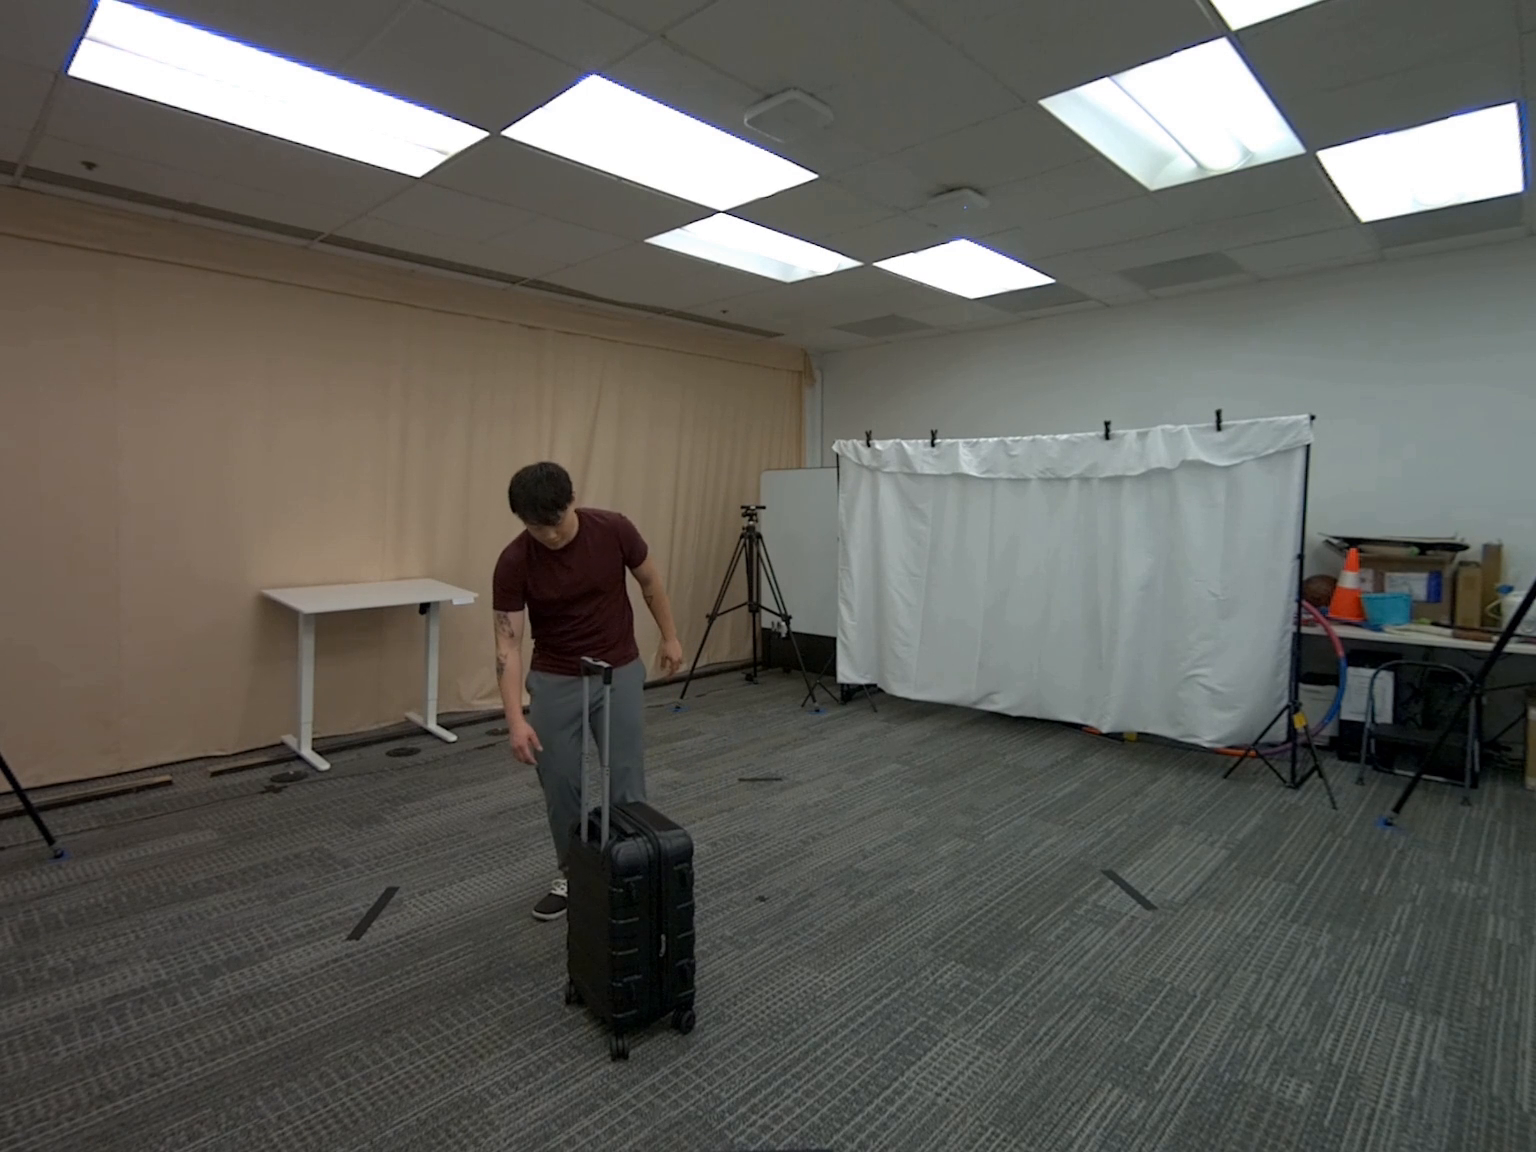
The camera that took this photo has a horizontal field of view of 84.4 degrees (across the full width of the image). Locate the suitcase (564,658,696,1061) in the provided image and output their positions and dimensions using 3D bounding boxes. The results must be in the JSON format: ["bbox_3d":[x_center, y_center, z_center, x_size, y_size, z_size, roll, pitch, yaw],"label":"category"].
[{"bbox_3d":[-0.371,0.727,2.300,0.250,0.978,0.395,1,2,-32],"label":"suitcase"}]
